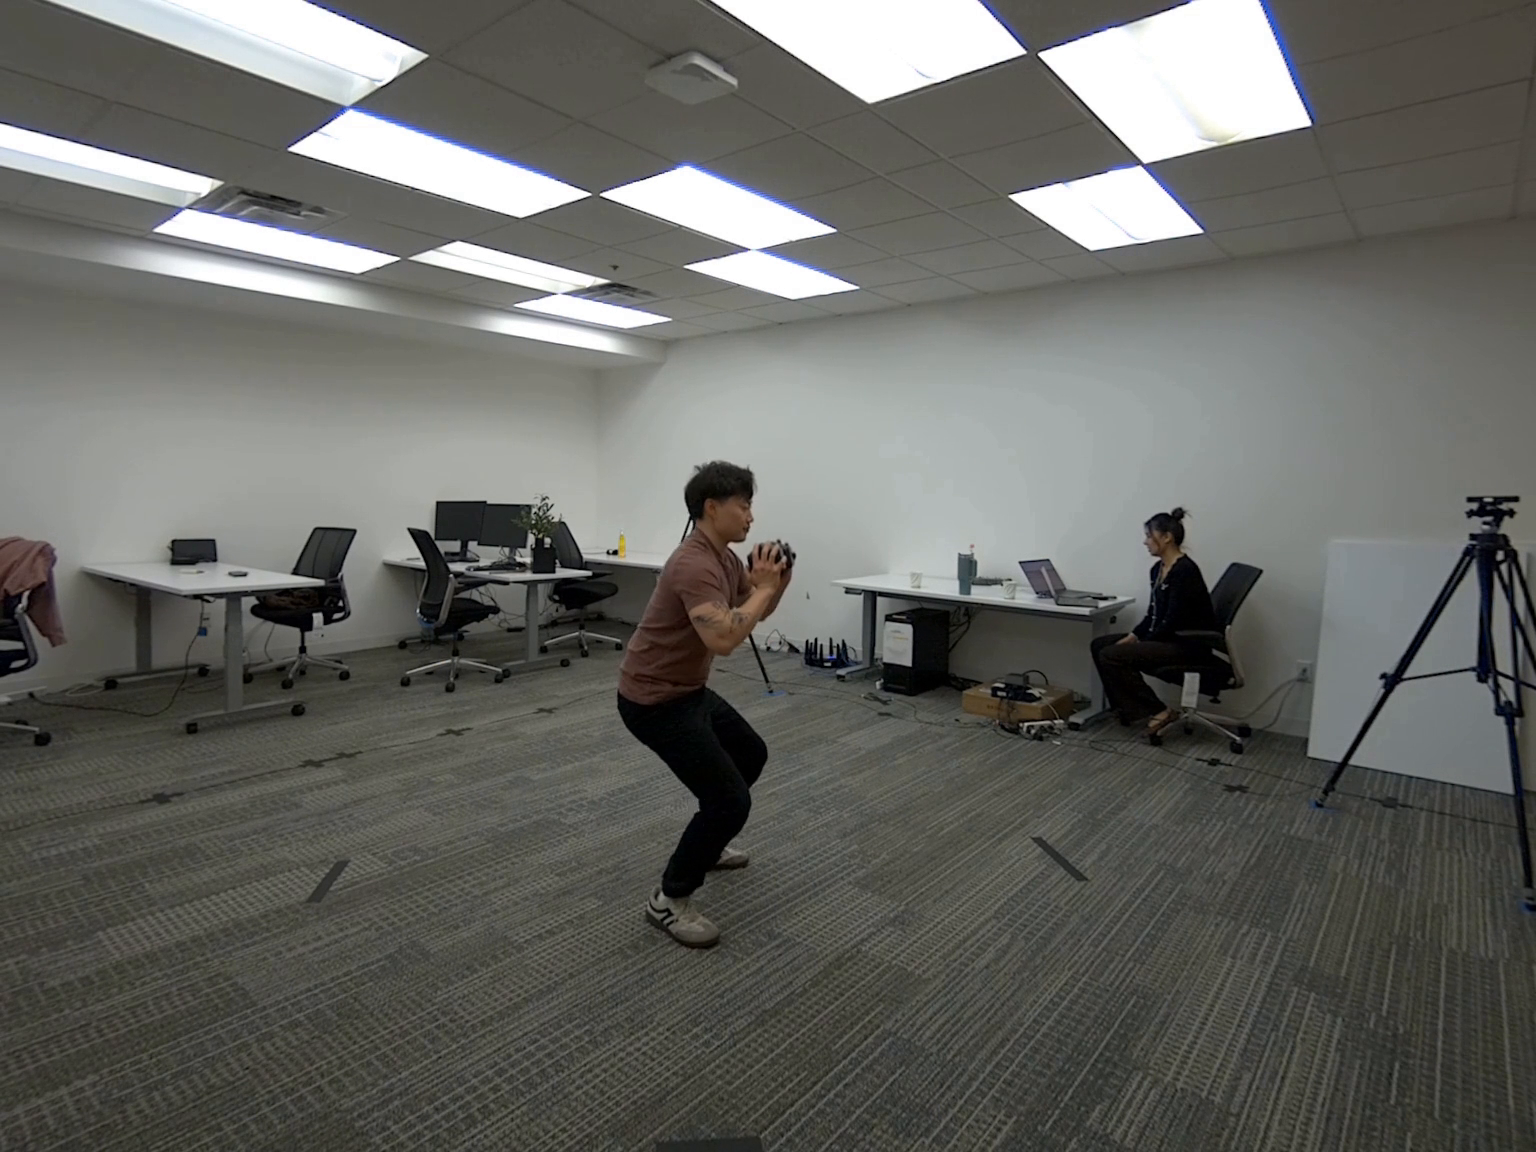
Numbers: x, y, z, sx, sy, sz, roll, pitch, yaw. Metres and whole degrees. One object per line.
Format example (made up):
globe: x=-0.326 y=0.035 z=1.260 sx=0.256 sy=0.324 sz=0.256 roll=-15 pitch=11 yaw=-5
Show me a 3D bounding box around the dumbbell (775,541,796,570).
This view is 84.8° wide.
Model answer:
dumbbell: x=-0.001 y=-0.041 z=2.783 sx=0.123 sy=0.110 sz=0.290 roll=-44 pitch=-5 yaw=6
